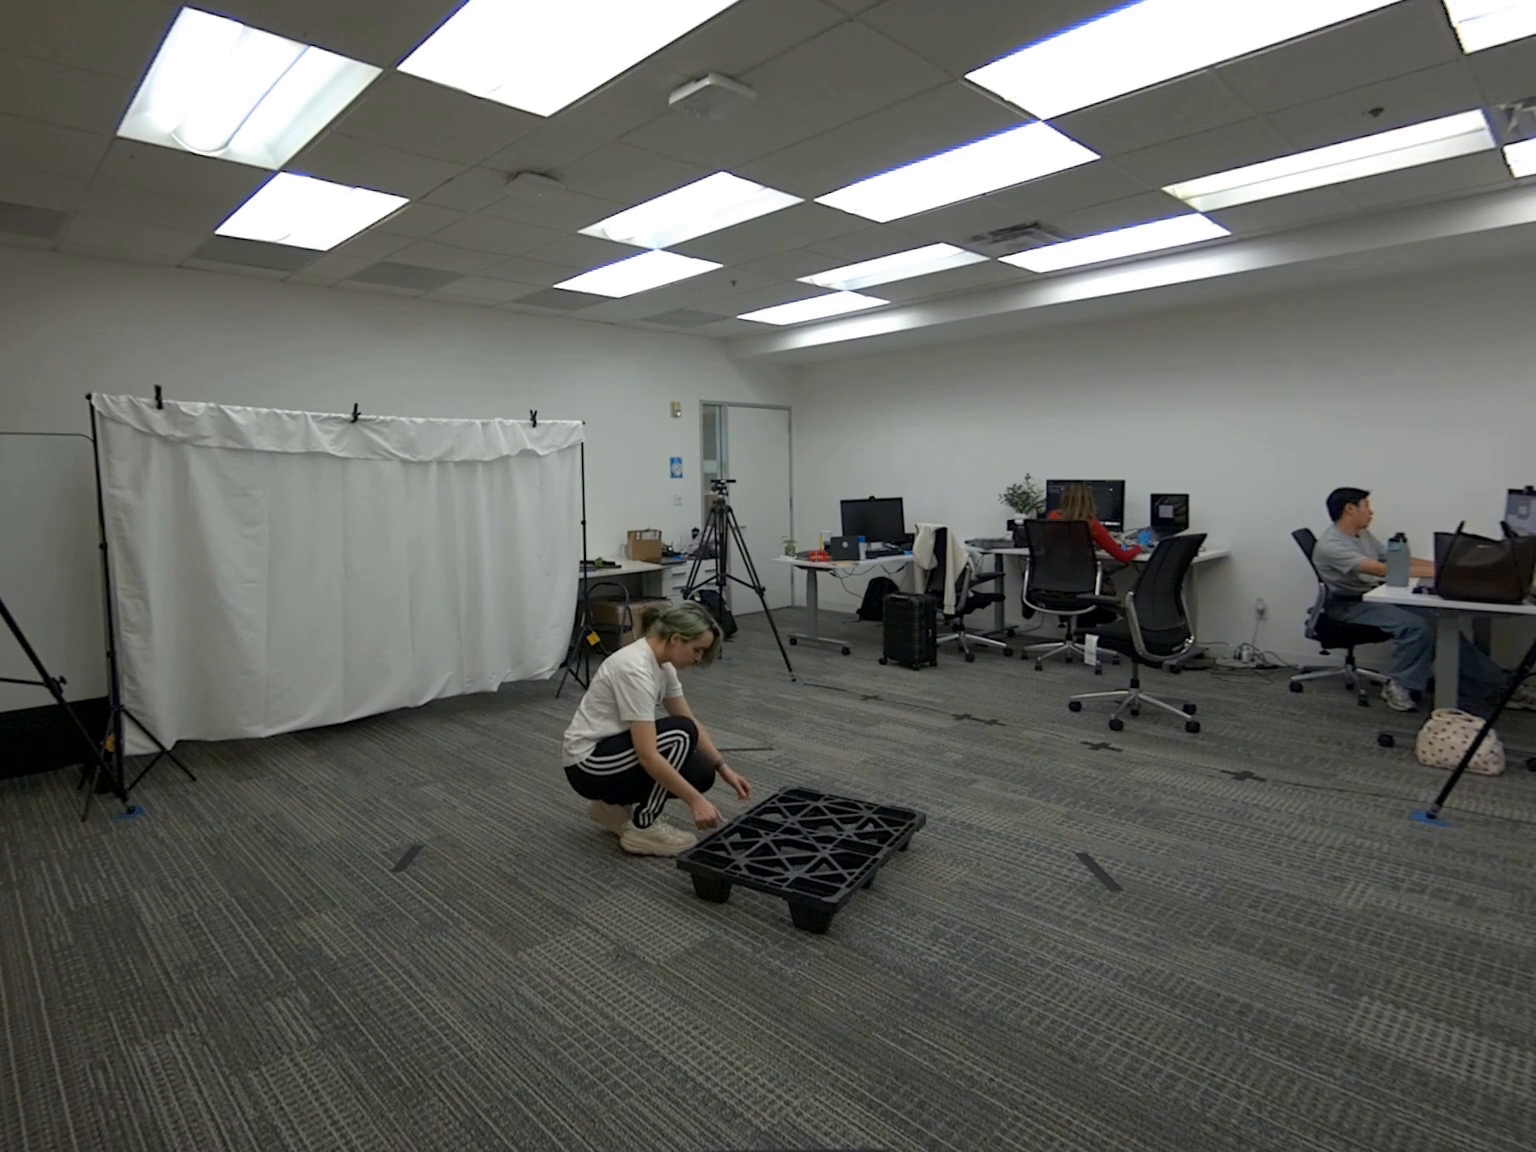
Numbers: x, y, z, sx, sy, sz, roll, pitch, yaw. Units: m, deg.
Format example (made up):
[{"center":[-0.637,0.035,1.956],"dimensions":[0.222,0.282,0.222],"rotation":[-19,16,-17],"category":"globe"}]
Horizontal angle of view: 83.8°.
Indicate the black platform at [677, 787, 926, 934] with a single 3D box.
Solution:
[{"center":[0.140,0.984,3.035],"dimensions":[0.621,0.143,0.787],"rotation":[2,7,31],"category":"black platform"}]
